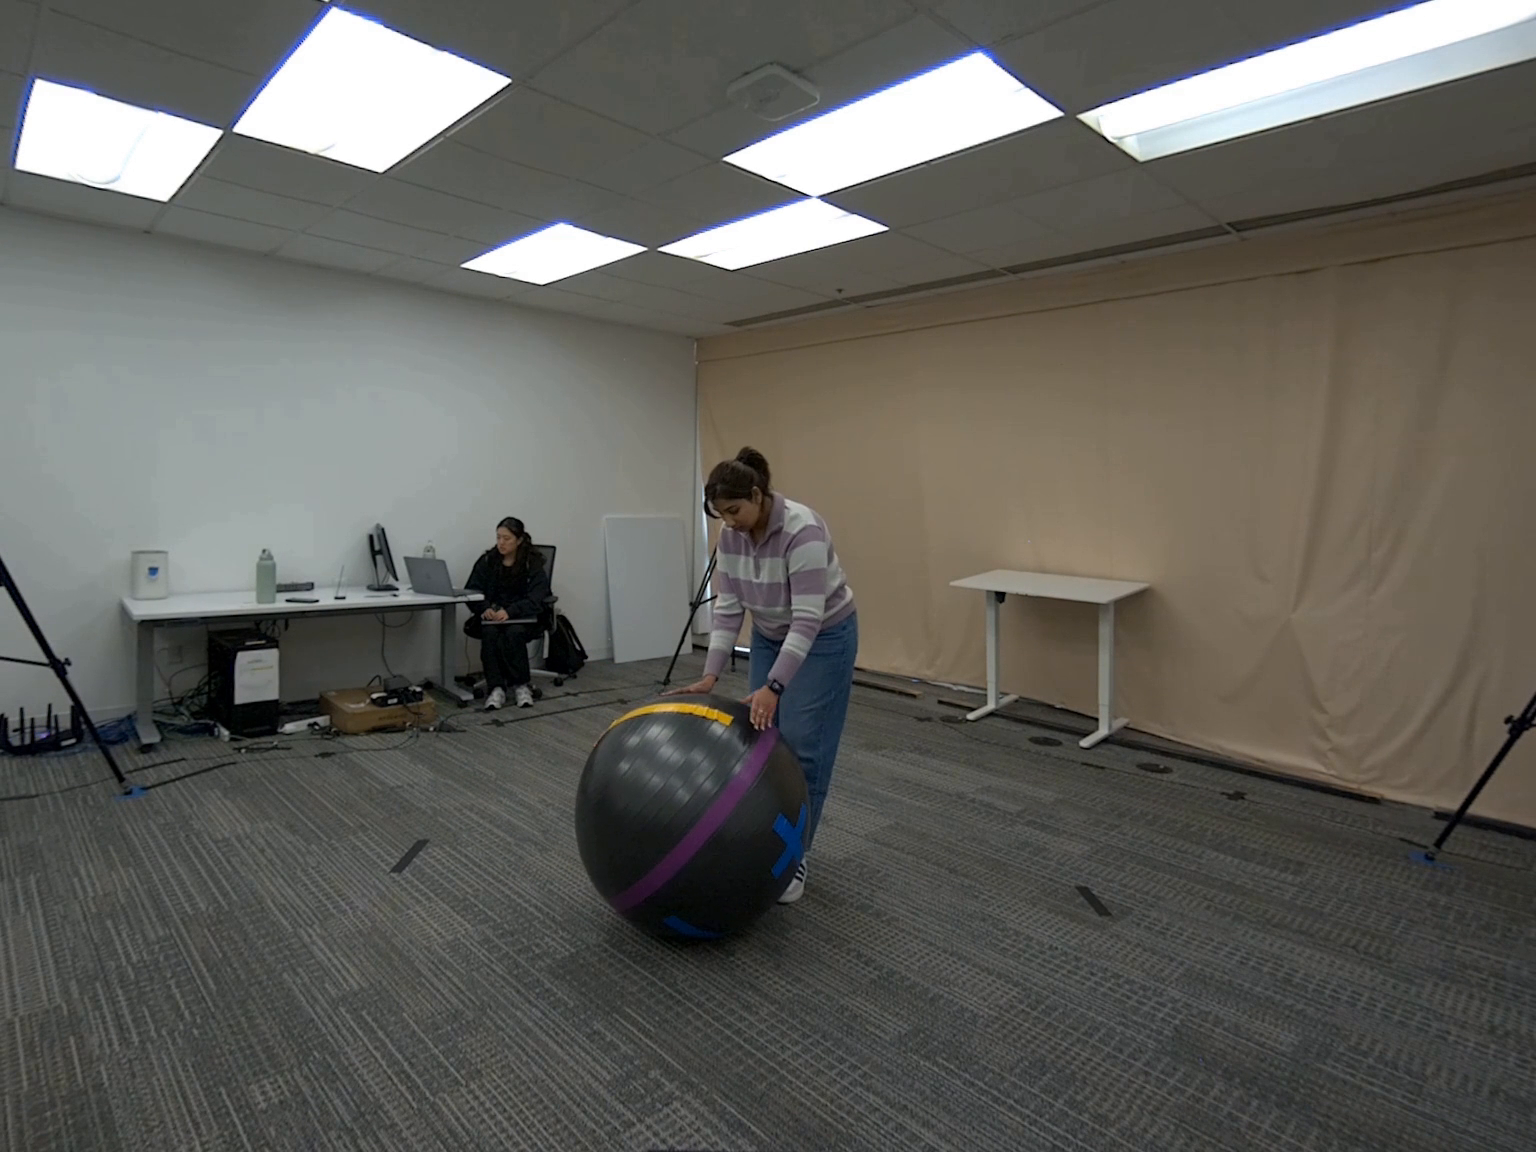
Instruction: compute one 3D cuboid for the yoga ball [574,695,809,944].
[{"bbox_3d":[-0.252,0.773,2.718,0.757,0.756,0.761,1,4,-1],"label":"yoga ball"}]
